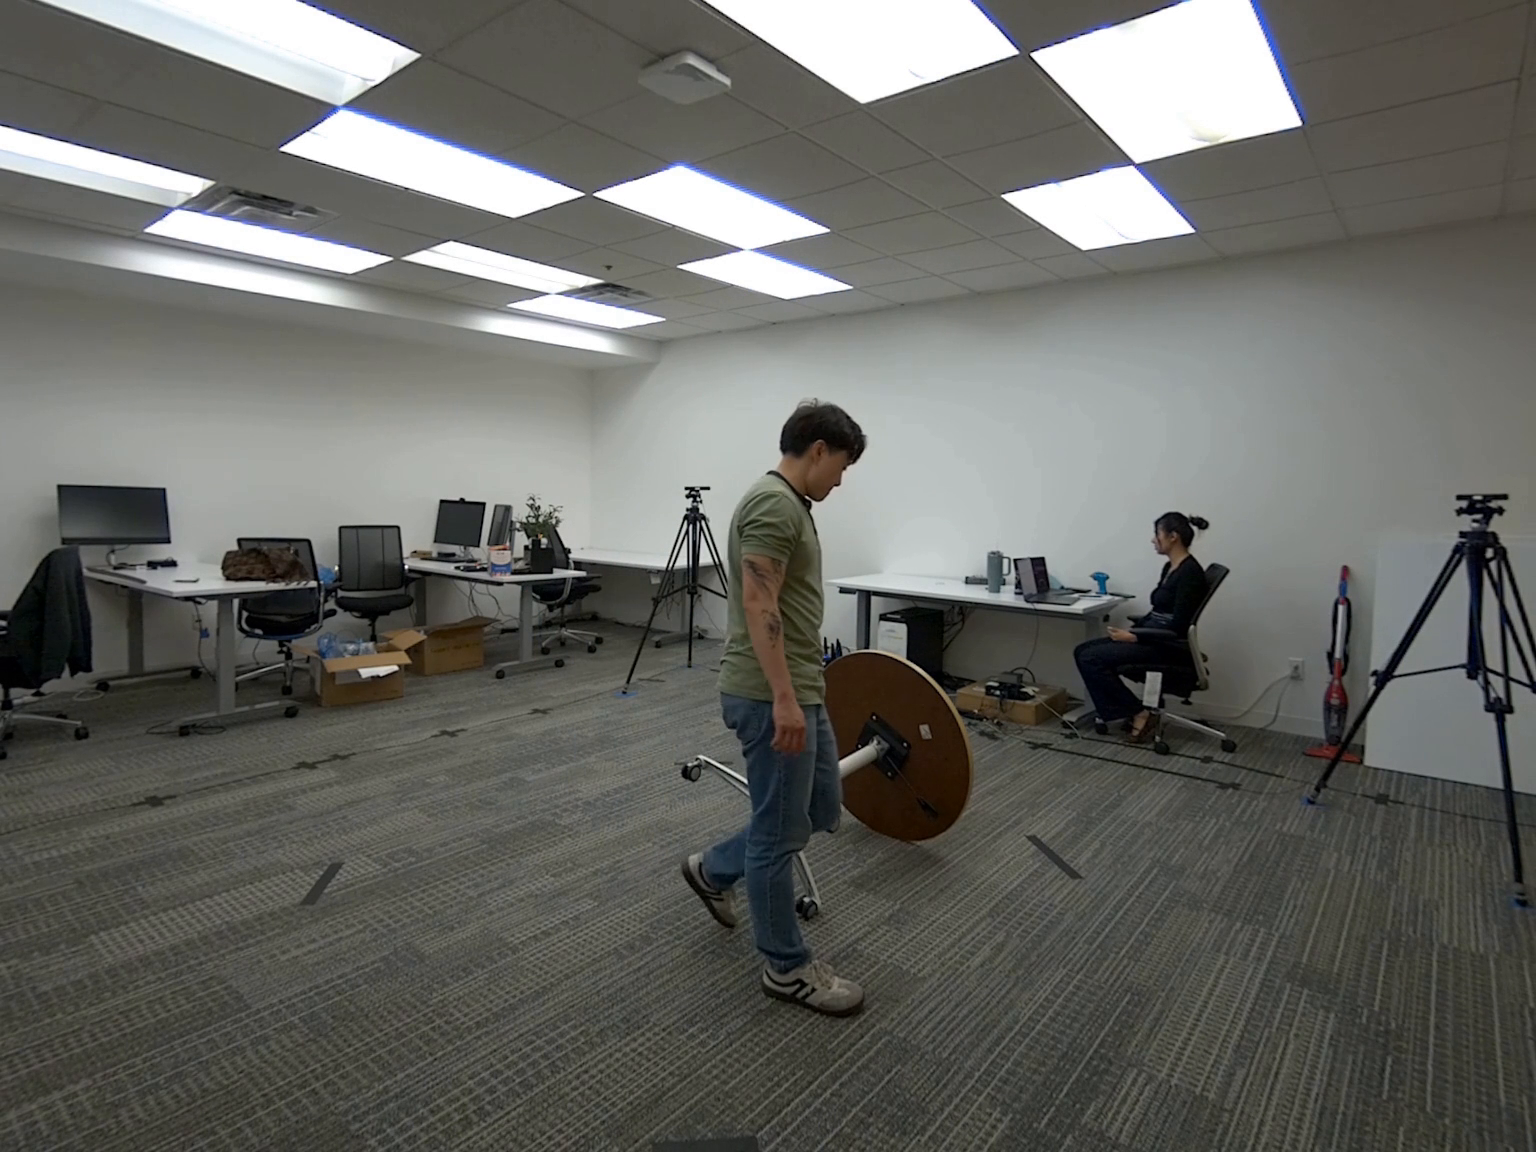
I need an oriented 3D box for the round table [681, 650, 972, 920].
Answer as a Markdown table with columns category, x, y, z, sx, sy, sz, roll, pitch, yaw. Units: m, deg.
| category | x | y | z | sx | sy | sz | roll | pitch | yaw |
| --- | --- | --- | --- | --- | --- | --- | --- | --- | --- |
| round table | 0.194 | 0.740 | 3.124 | 0.790 | 0.757 | 0.775 | 5 | 13 | 44 |
